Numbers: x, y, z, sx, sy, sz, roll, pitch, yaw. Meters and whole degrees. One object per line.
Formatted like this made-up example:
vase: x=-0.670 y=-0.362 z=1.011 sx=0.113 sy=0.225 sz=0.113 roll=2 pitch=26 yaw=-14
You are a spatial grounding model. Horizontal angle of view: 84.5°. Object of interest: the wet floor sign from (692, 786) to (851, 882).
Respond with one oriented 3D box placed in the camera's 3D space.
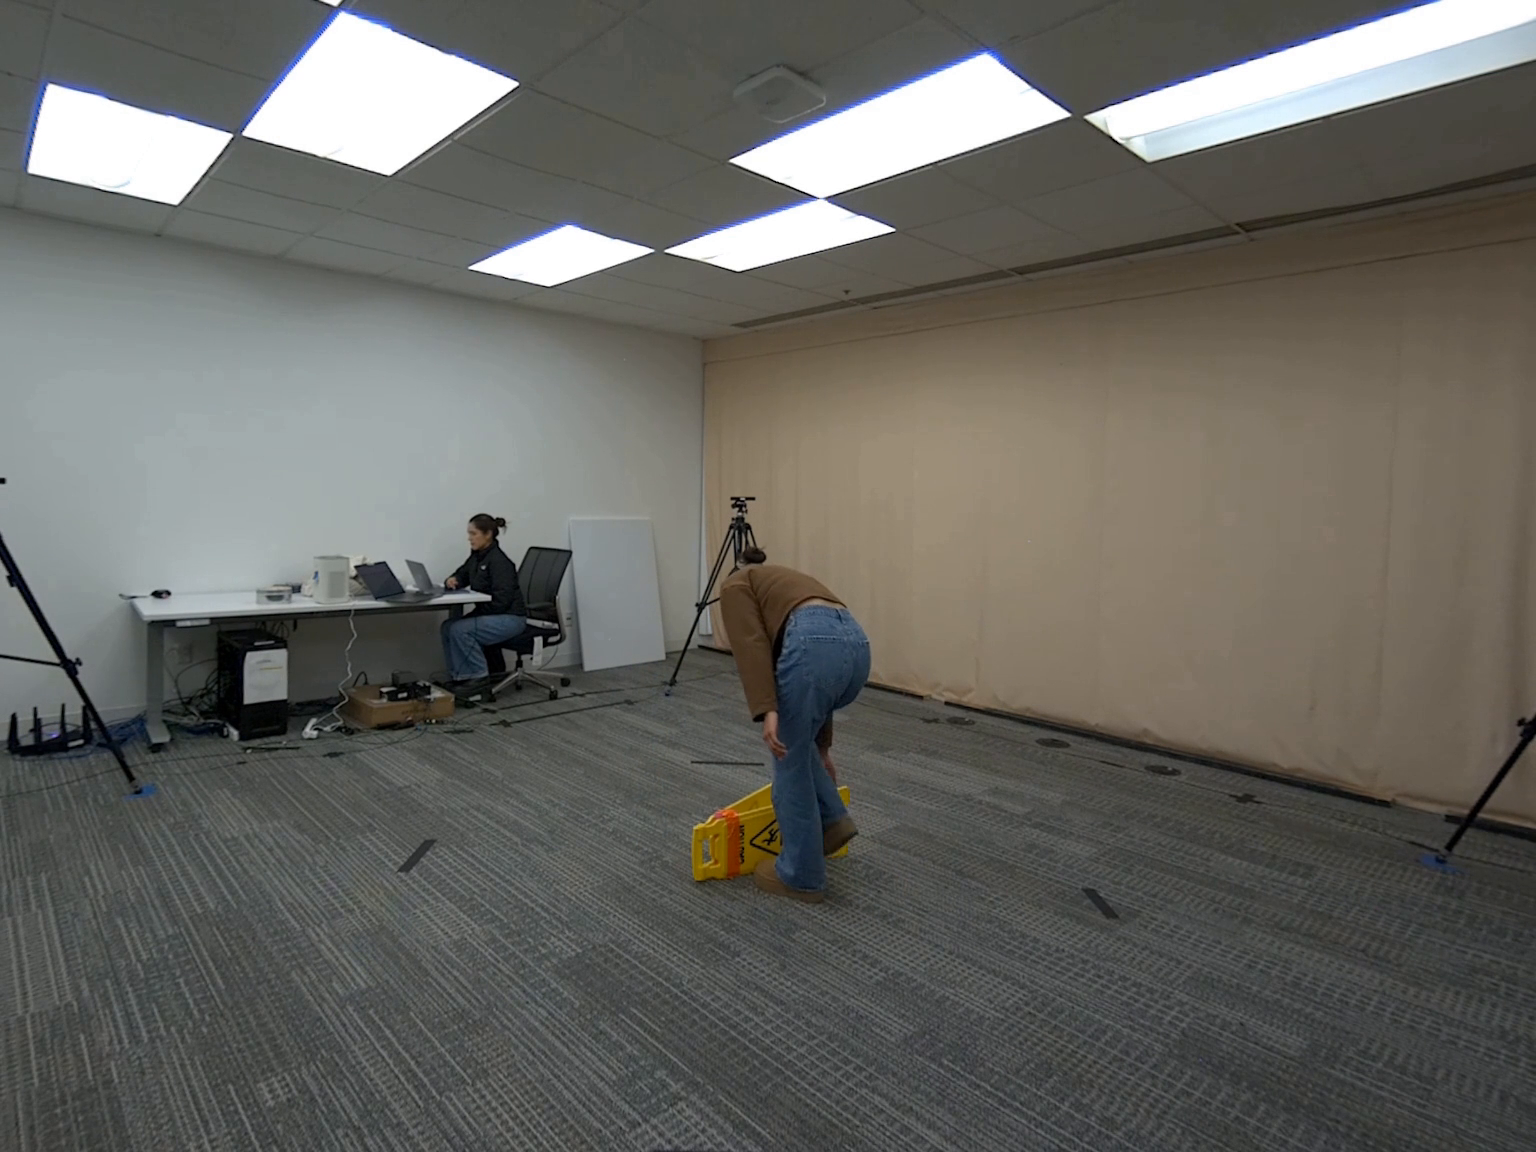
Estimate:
wet floor sign: x=-0.018 y=0.973 z=3.216 sx=0.632 sy=0.281 sz=0.297 roll=-6 pitch=8 yaw=-38
